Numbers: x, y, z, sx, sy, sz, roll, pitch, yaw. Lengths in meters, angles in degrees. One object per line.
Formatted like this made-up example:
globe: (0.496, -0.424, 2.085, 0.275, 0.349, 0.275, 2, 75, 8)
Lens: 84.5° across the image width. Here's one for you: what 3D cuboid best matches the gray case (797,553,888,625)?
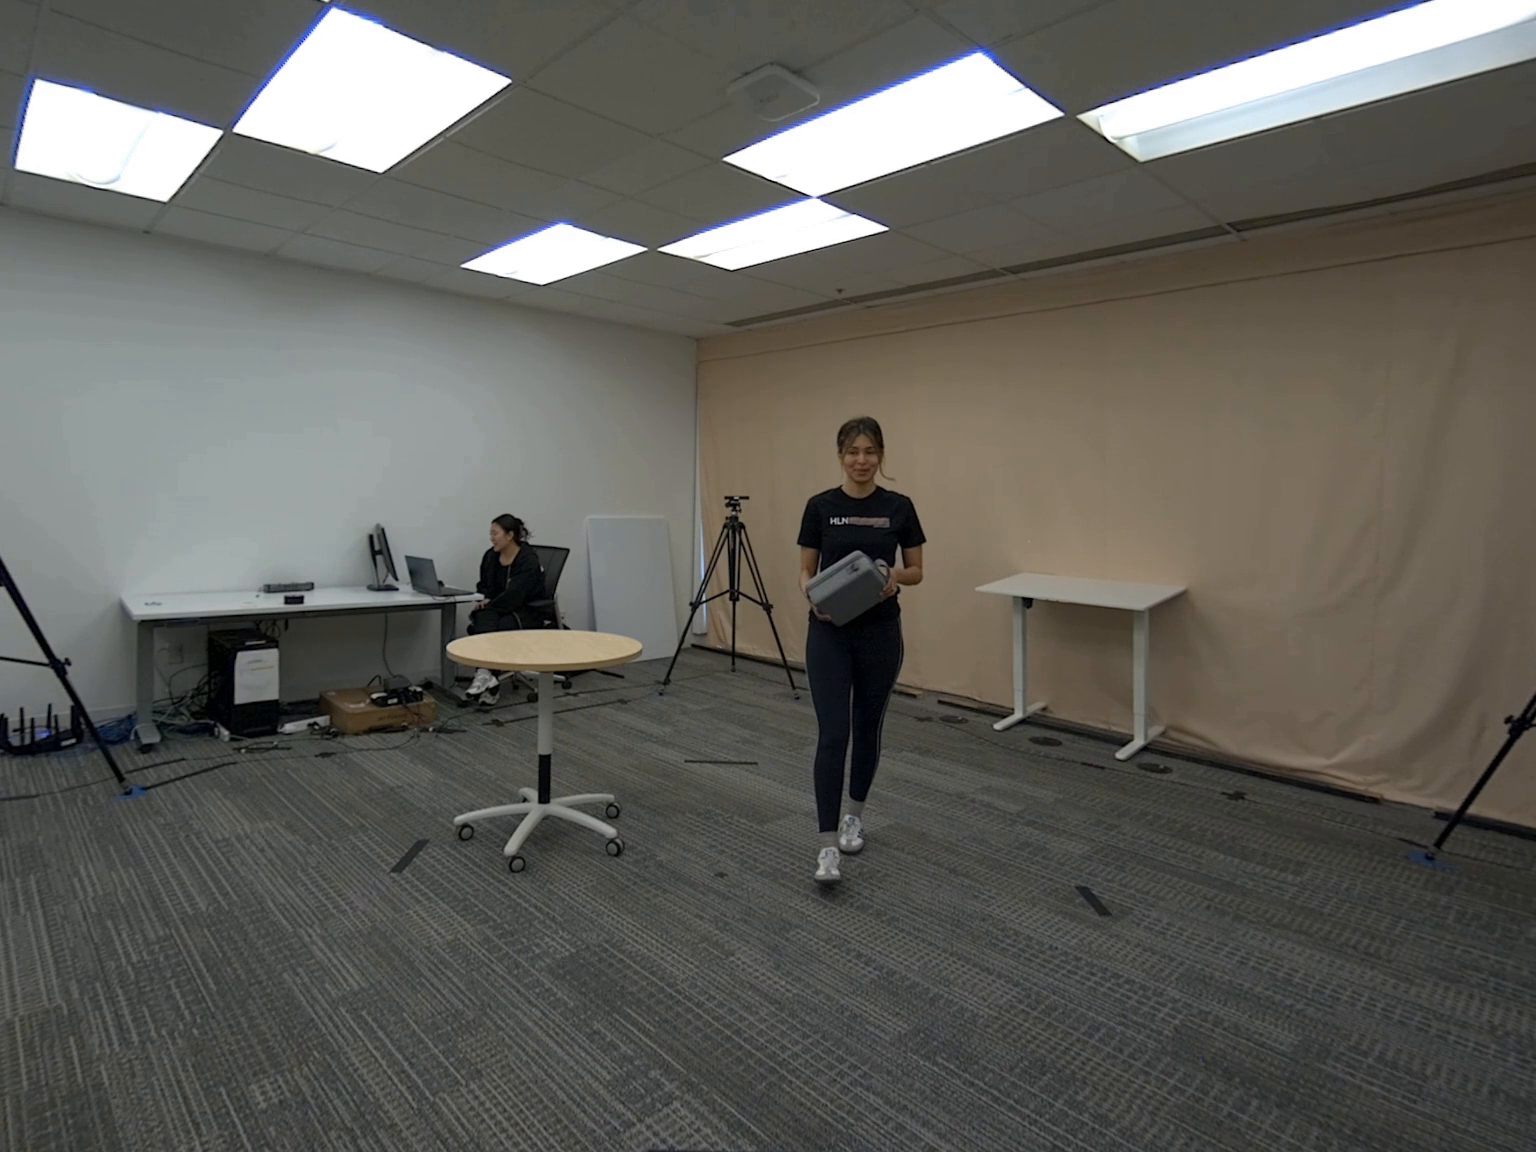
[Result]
gray case: (0.286, 0.051, 3.037, 0.261, 0.107, 0.249, -34, -36, 12)
